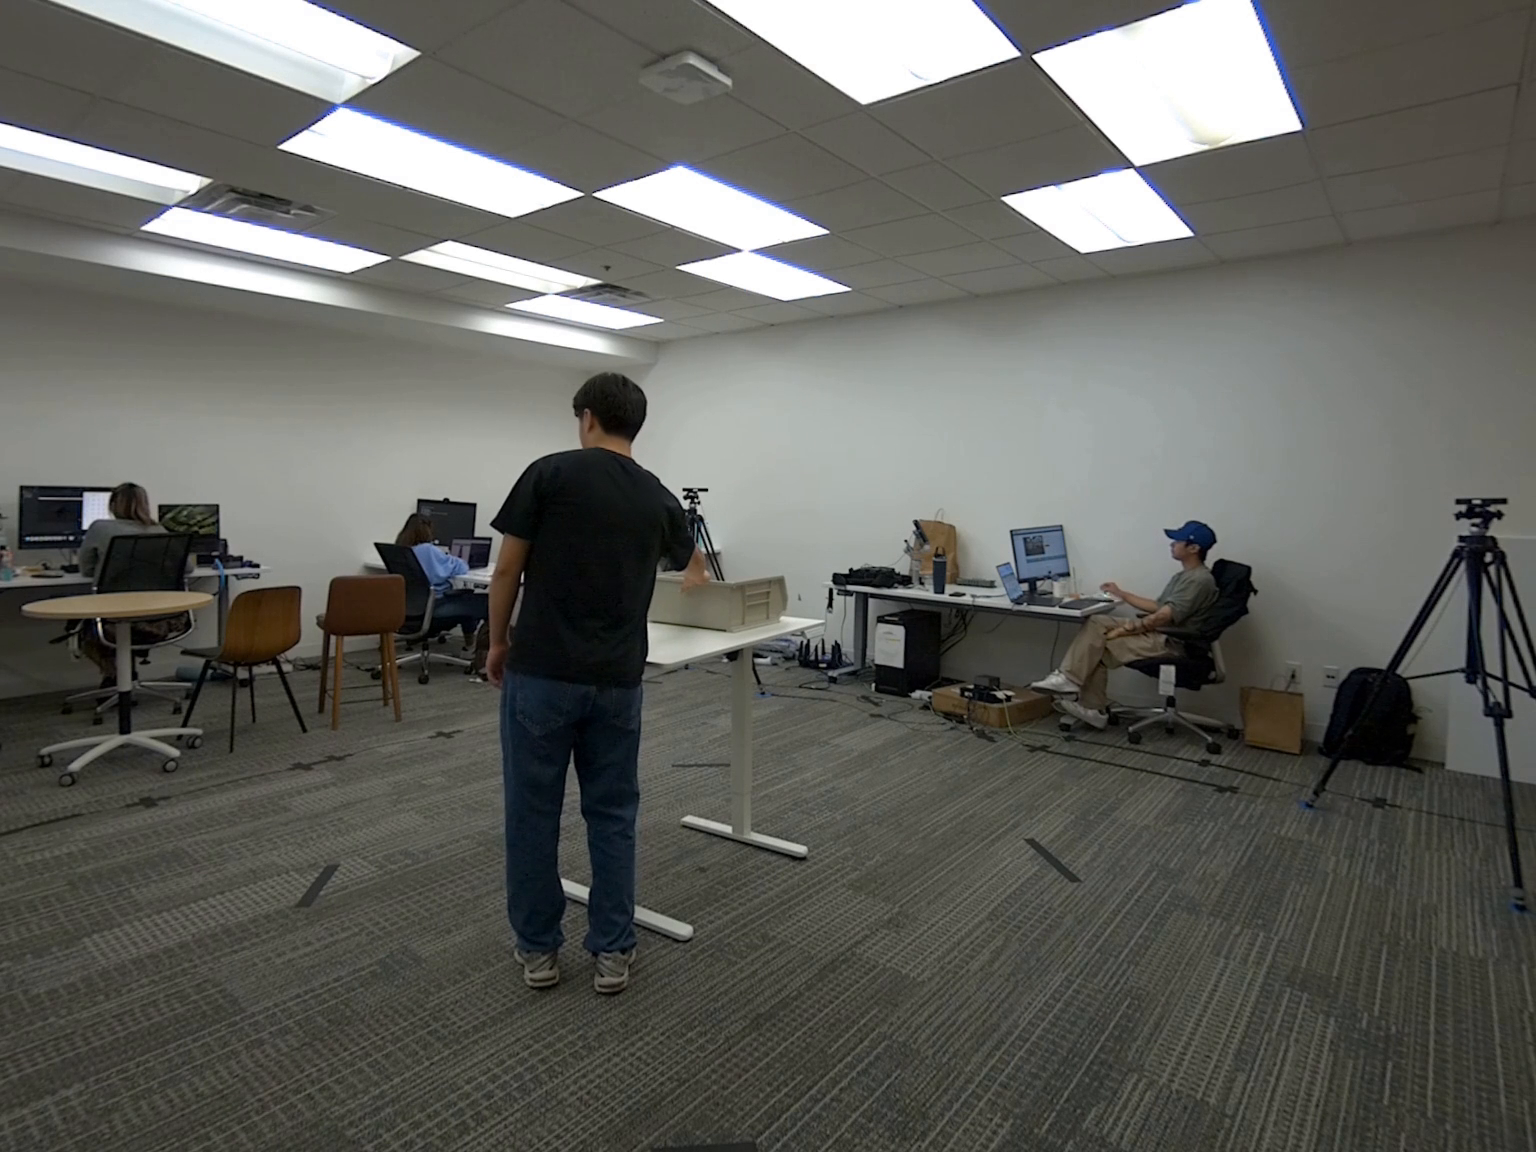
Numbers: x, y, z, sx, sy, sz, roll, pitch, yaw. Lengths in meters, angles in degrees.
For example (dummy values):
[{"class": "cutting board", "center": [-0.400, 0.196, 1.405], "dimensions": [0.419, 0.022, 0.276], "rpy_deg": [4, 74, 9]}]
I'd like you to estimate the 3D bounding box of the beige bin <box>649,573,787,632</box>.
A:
[{"class": "beige bin", "center": [-0.209, 0.085, 3.246], "dimensions": [0.436, 0.188, 0.367], "rpy_deg": [5, 8, 34]}]
